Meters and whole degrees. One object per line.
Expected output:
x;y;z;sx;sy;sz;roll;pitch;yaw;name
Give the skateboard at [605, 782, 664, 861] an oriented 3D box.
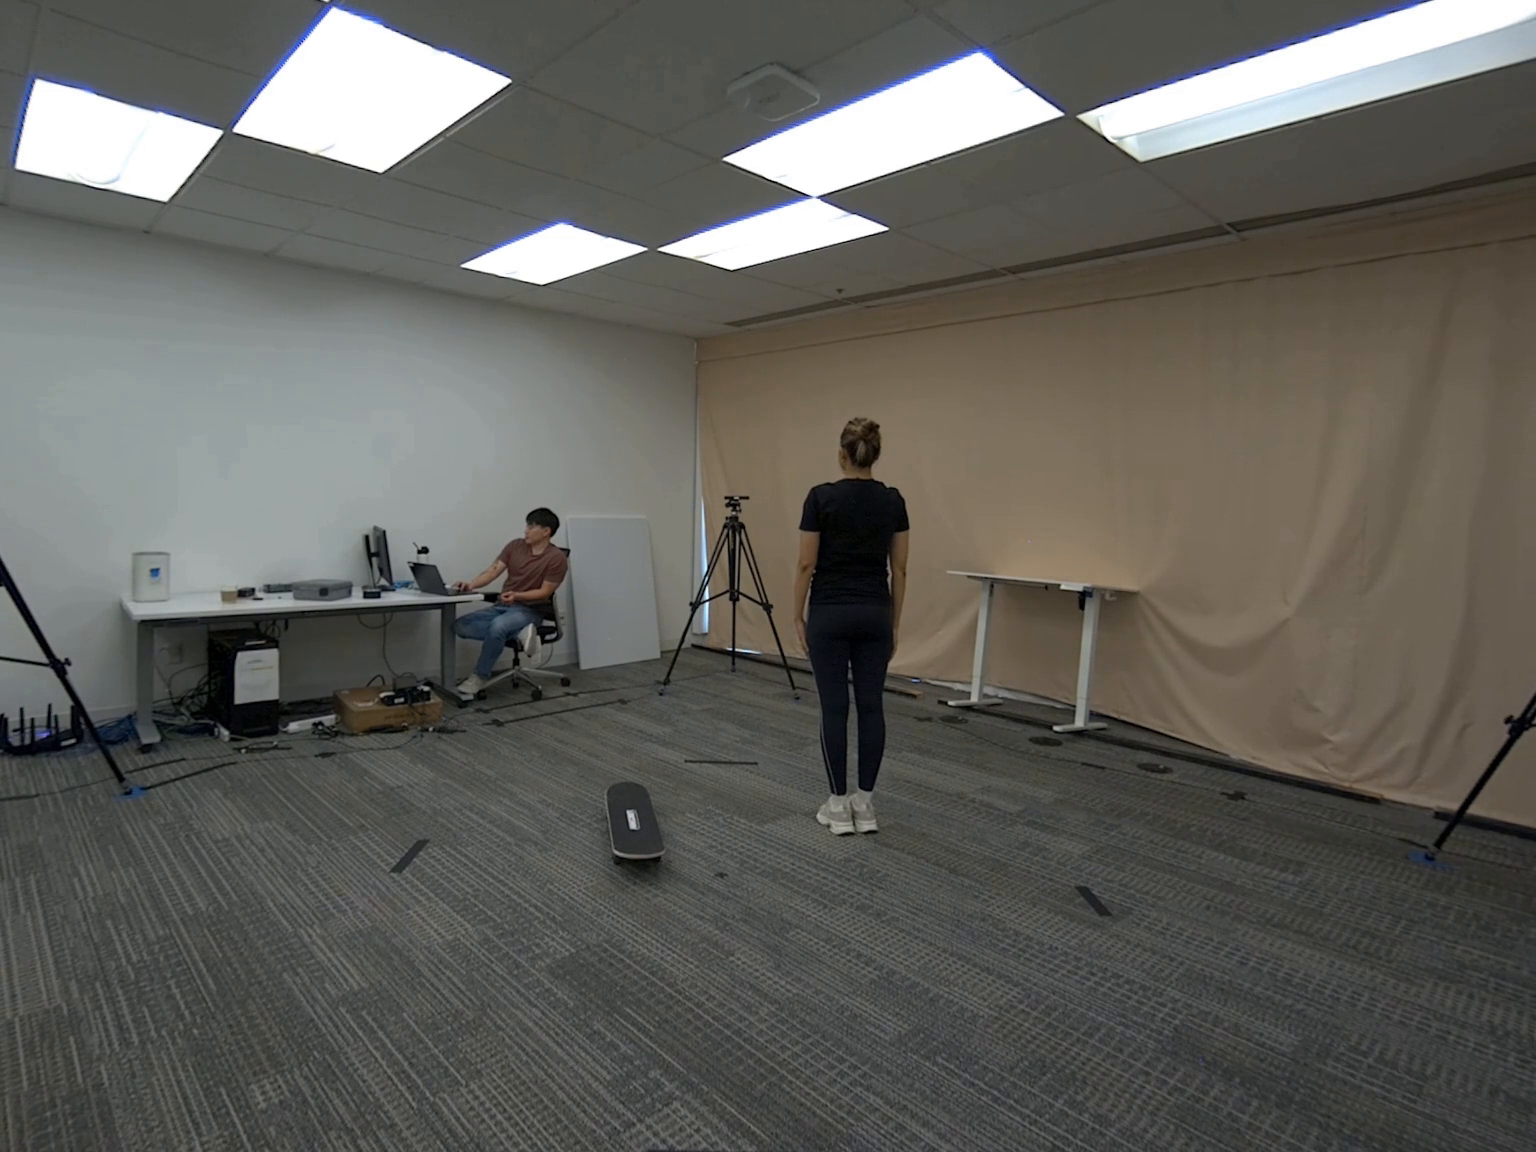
-0.552;1.012;3.390;0.191;0.110;0.795;1;5;-13;skateboard
